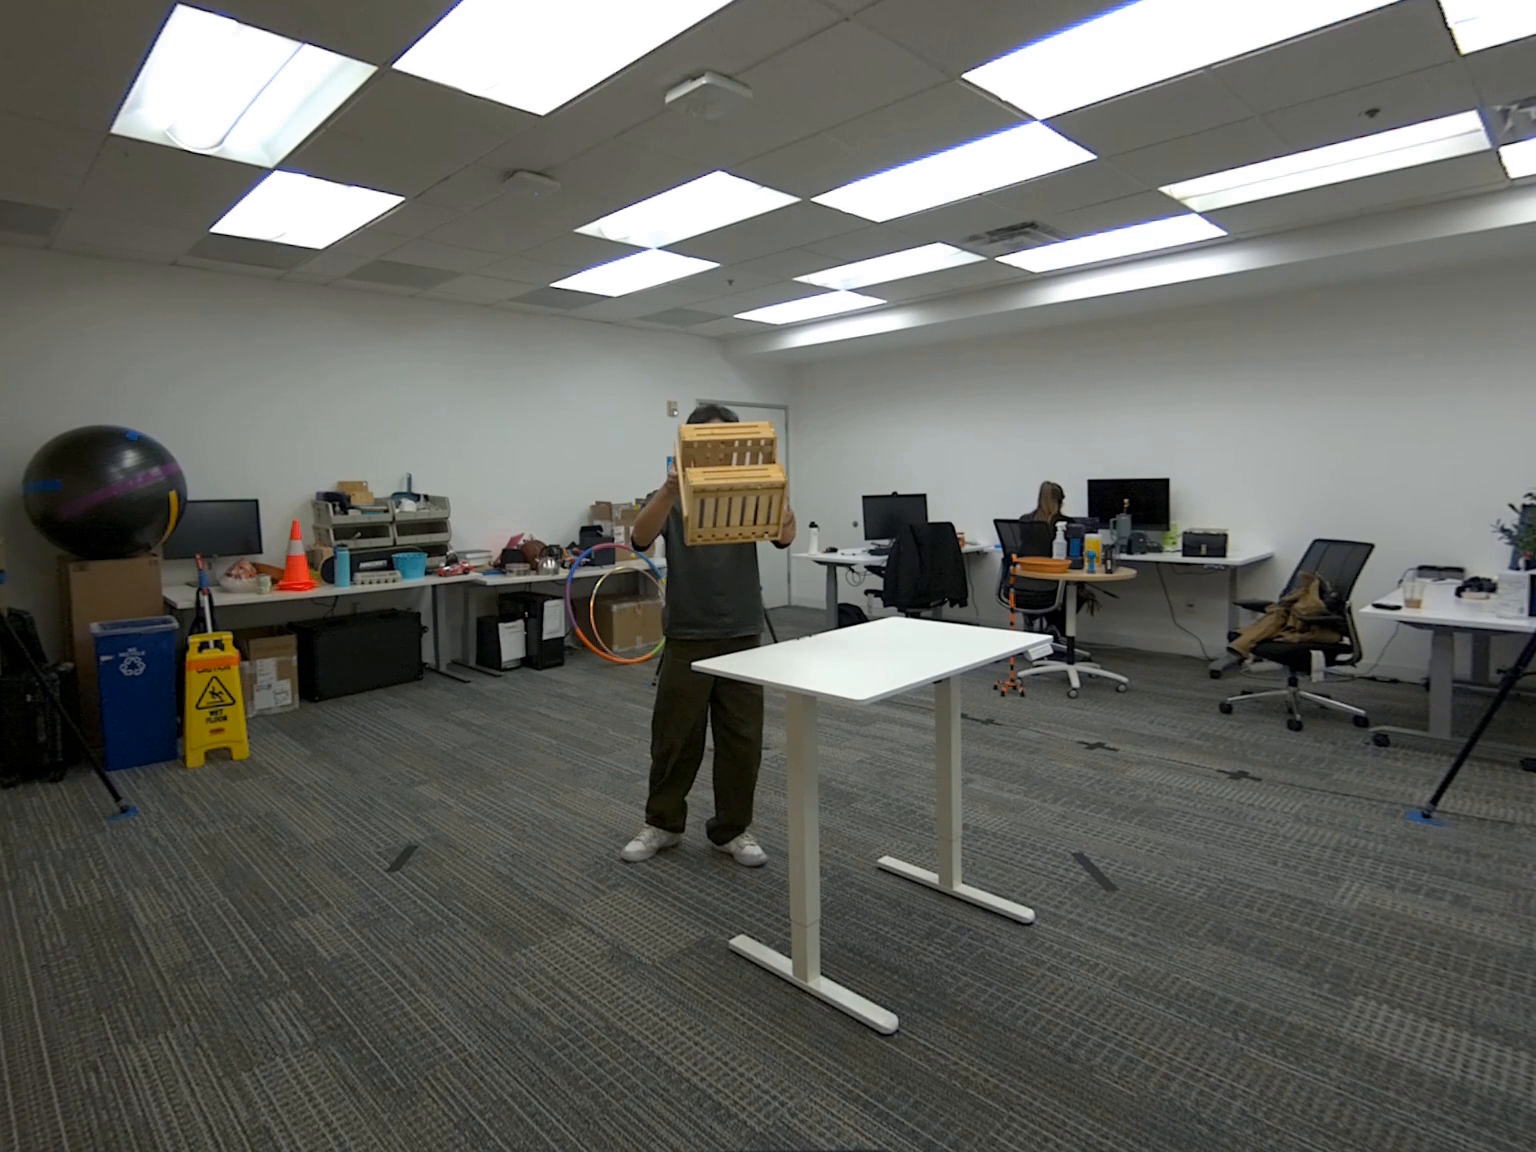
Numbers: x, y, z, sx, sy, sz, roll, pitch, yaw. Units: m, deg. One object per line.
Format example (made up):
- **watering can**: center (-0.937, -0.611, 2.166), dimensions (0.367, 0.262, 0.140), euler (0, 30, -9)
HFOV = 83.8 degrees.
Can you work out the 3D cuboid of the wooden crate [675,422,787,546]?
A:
- **wooden crate**: center (-0.128, -0.287, 2.714), dimensions (0.321, 0.295, 0.283), euler (-4, 41, -12)
